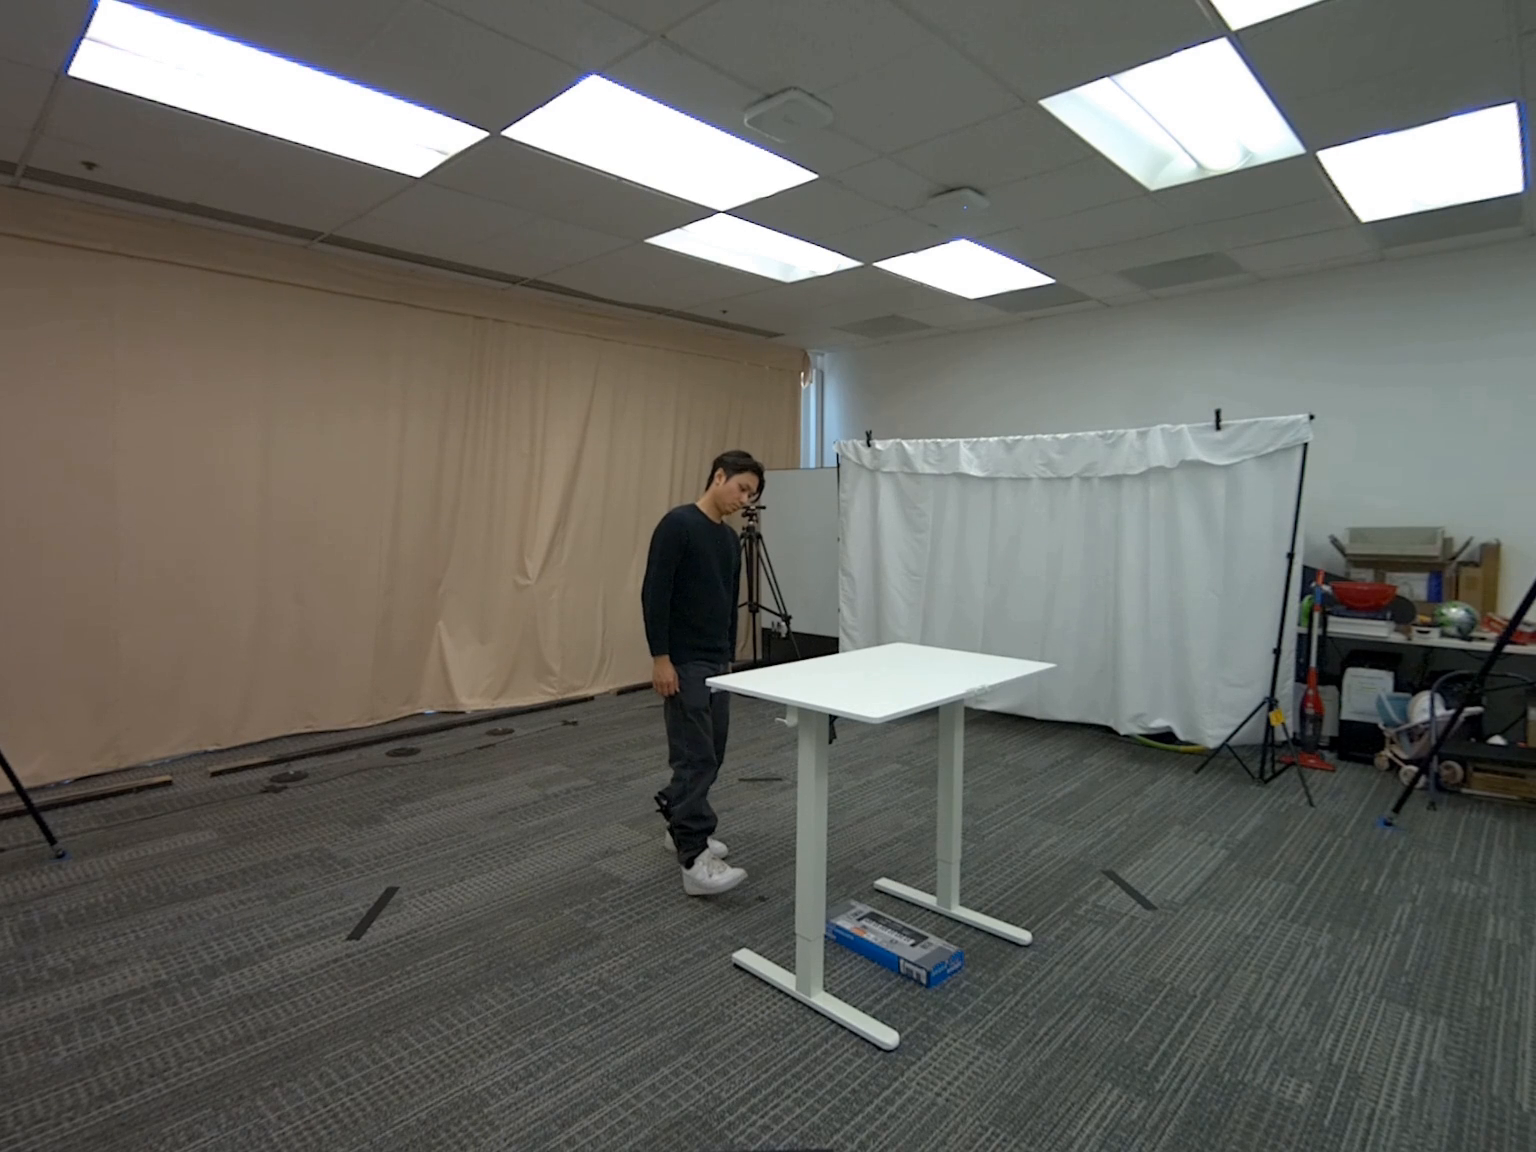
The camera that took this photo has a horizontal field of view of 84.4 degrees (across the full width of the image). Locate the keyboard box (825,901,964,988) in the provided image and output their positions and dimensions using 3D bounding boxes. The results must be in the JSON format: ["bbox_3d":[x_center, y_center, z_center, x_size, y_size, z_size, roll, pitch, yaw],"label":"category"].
[{"bbox_3d":[0.376,1.143,2.637,0.171,0.059,0.451,-6,7,-42],"label":"keyboard box"}]
